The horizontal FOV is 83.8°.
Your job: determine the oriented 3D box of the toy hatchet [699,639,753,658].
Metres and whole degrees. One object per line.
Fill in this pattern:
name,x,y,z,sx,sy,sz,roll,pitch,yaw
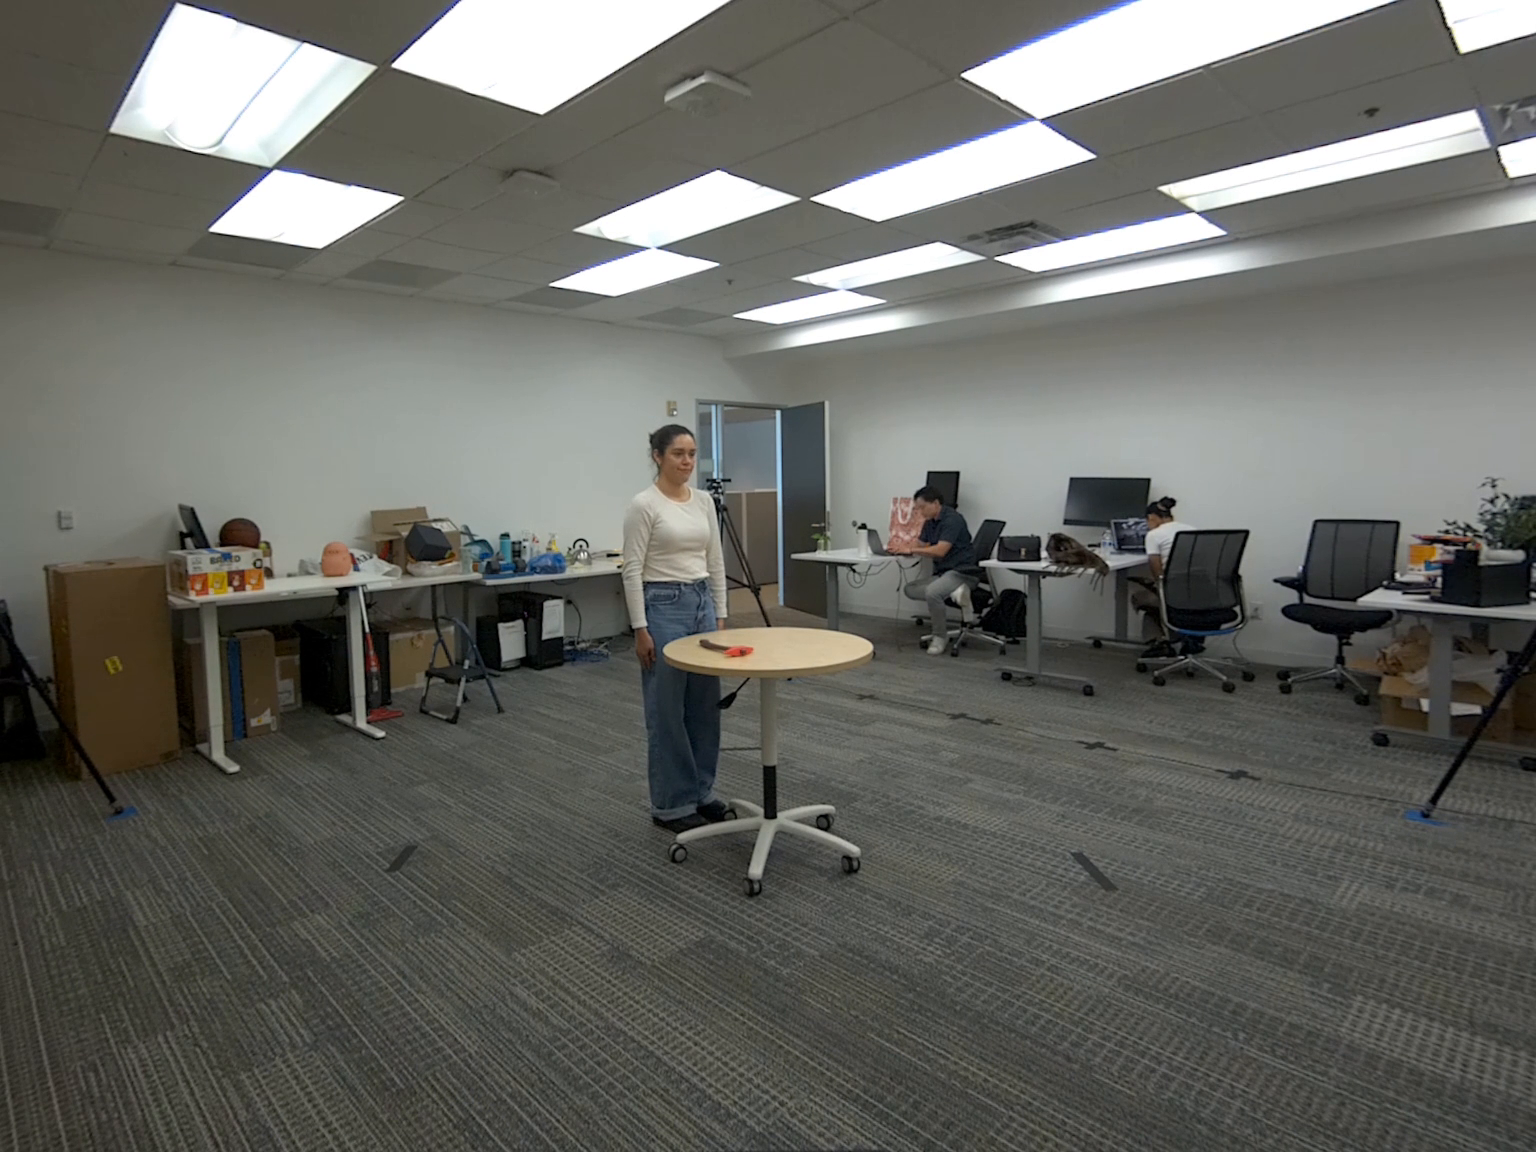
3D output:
toy hatchet,-0.141,0.257,3.078,0.128,0.029,0.276,-4,5,-25
